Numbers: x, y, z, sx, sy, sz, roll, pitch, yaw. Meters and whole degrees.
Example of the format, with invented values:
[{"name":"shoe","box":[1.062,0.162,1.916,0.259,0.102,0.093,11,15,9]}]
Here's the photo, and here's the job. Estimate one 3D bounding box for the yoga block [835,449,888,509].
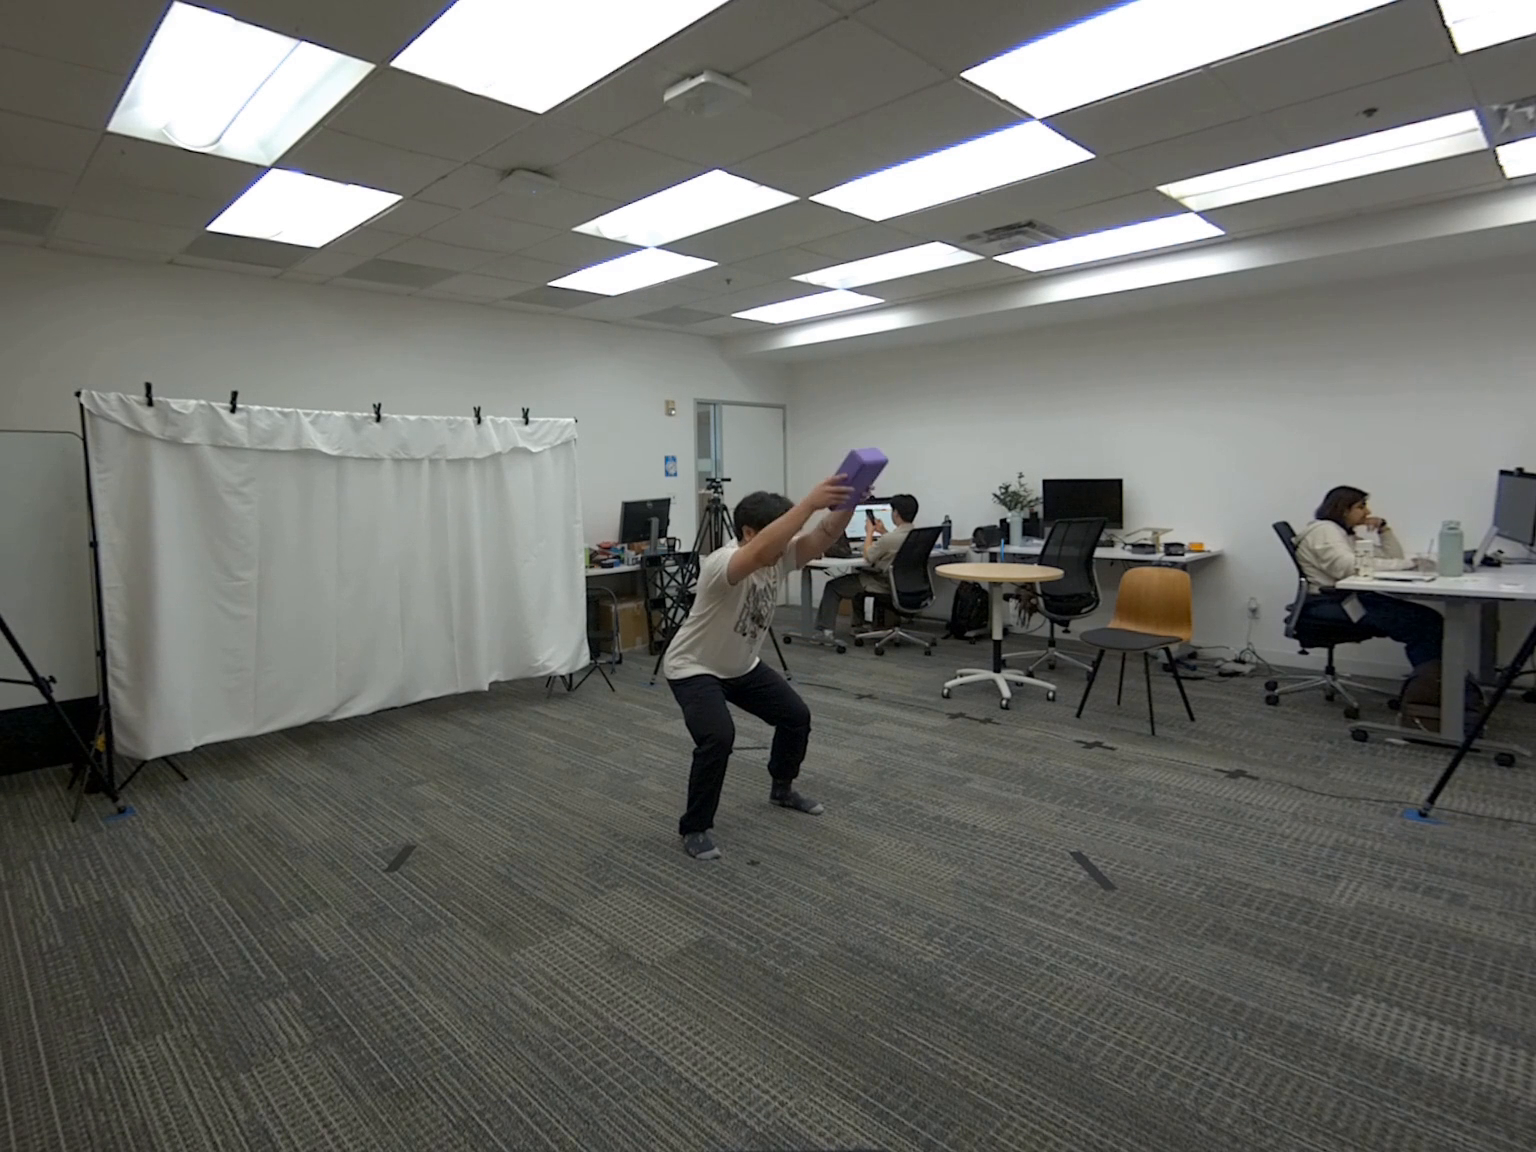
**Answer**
[{"name":"yoga block","box":[0.298,-0.326,2.935,0.145,0.079,0.228,-12,-34,-46]}]
